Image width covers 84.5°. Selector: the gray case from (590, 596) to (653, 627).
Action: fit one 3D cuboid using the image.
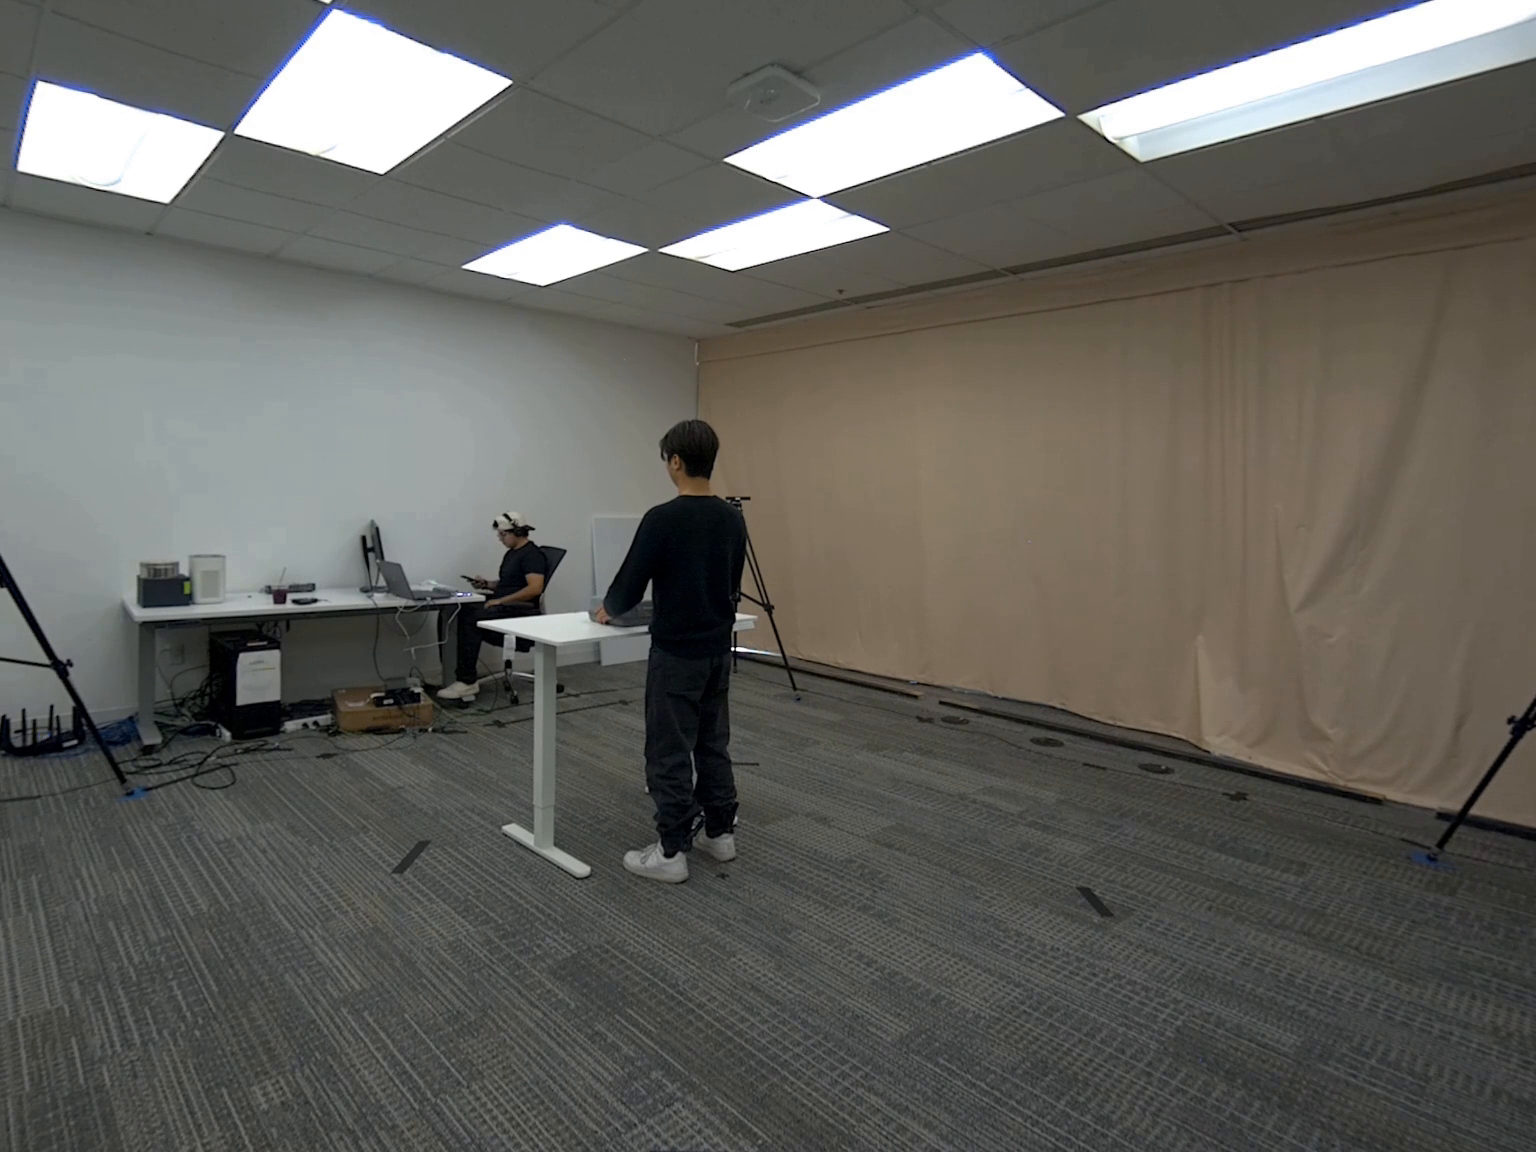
[{"bbox_3d":[-0.570,0.135,3.427,0.251,0.104,0.267,-2,5,-44],"label":"gray case"}]
